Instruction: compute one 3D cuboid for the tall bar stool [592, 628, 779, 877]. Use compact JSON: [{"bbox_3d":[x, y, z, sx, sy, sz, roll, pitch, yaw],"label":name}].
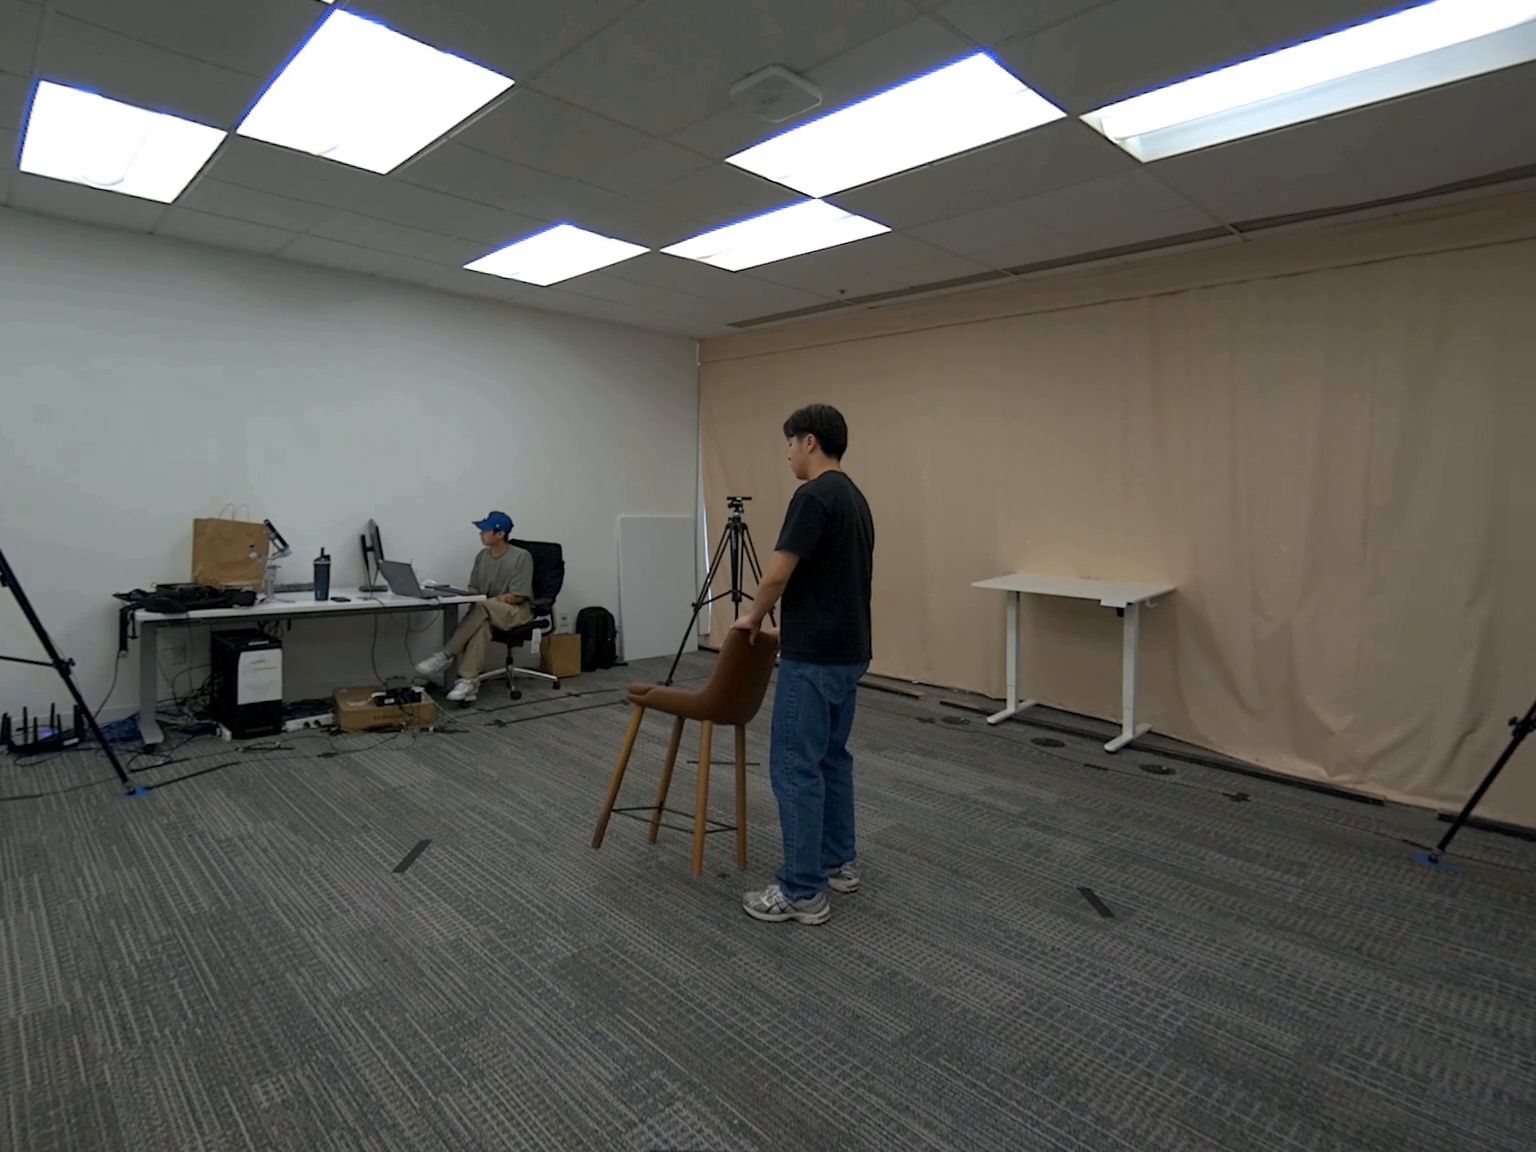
[{"bbox_3d":[-0.290,0.625,3.198,0.478,0.894,0.444,6,-10,29],"label":"tall bar stool"}]
